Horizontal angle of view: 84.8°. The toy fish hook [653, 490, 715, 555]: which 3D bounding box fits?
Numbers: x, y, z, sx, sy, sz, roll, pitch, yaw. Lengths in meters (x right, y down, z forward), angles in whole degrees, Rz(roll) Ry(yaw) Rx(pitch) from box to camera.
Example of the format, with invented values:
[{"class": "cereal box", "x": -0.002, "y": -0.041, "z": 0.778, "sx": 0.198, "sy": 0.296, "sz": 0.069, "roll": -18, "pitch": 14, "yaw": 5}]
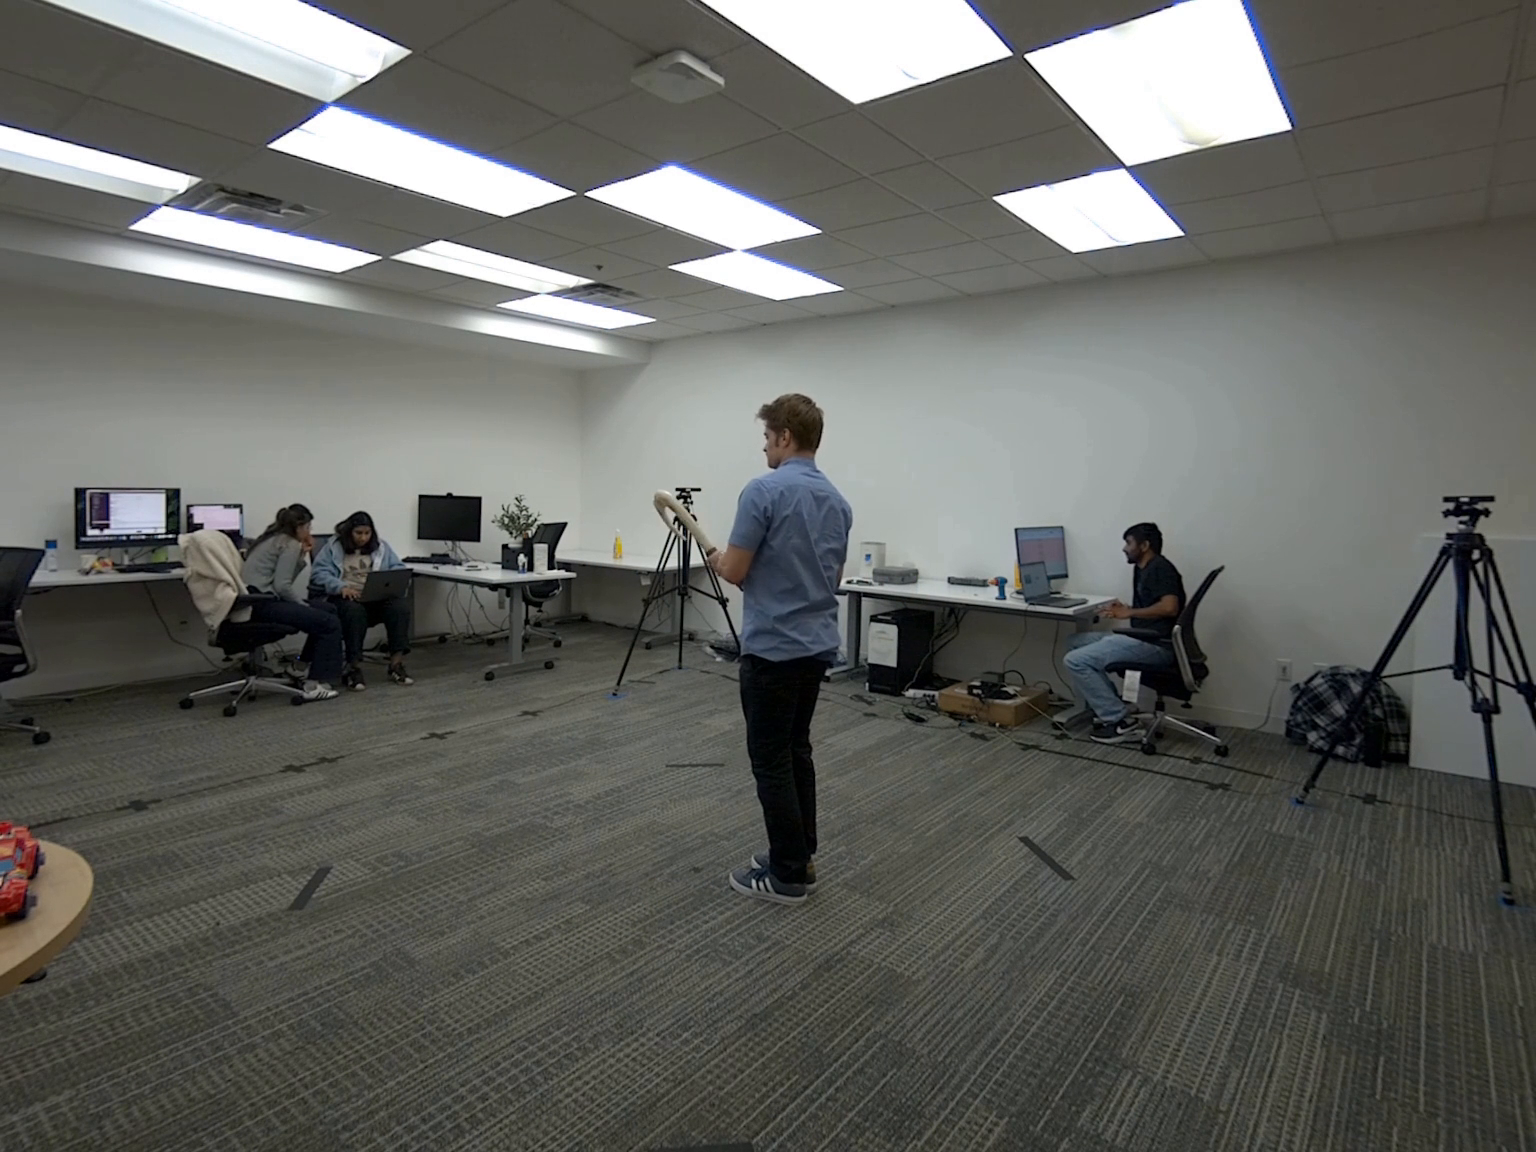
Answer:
[{"class": "toy fish hook", "x": -0.273, "y": -0.122, "z": 3.211, "sx": 0.048, "sy": 0.515, "sz": 0.222, "roll": -37, "pitch": -11, "yaw": -21}]
